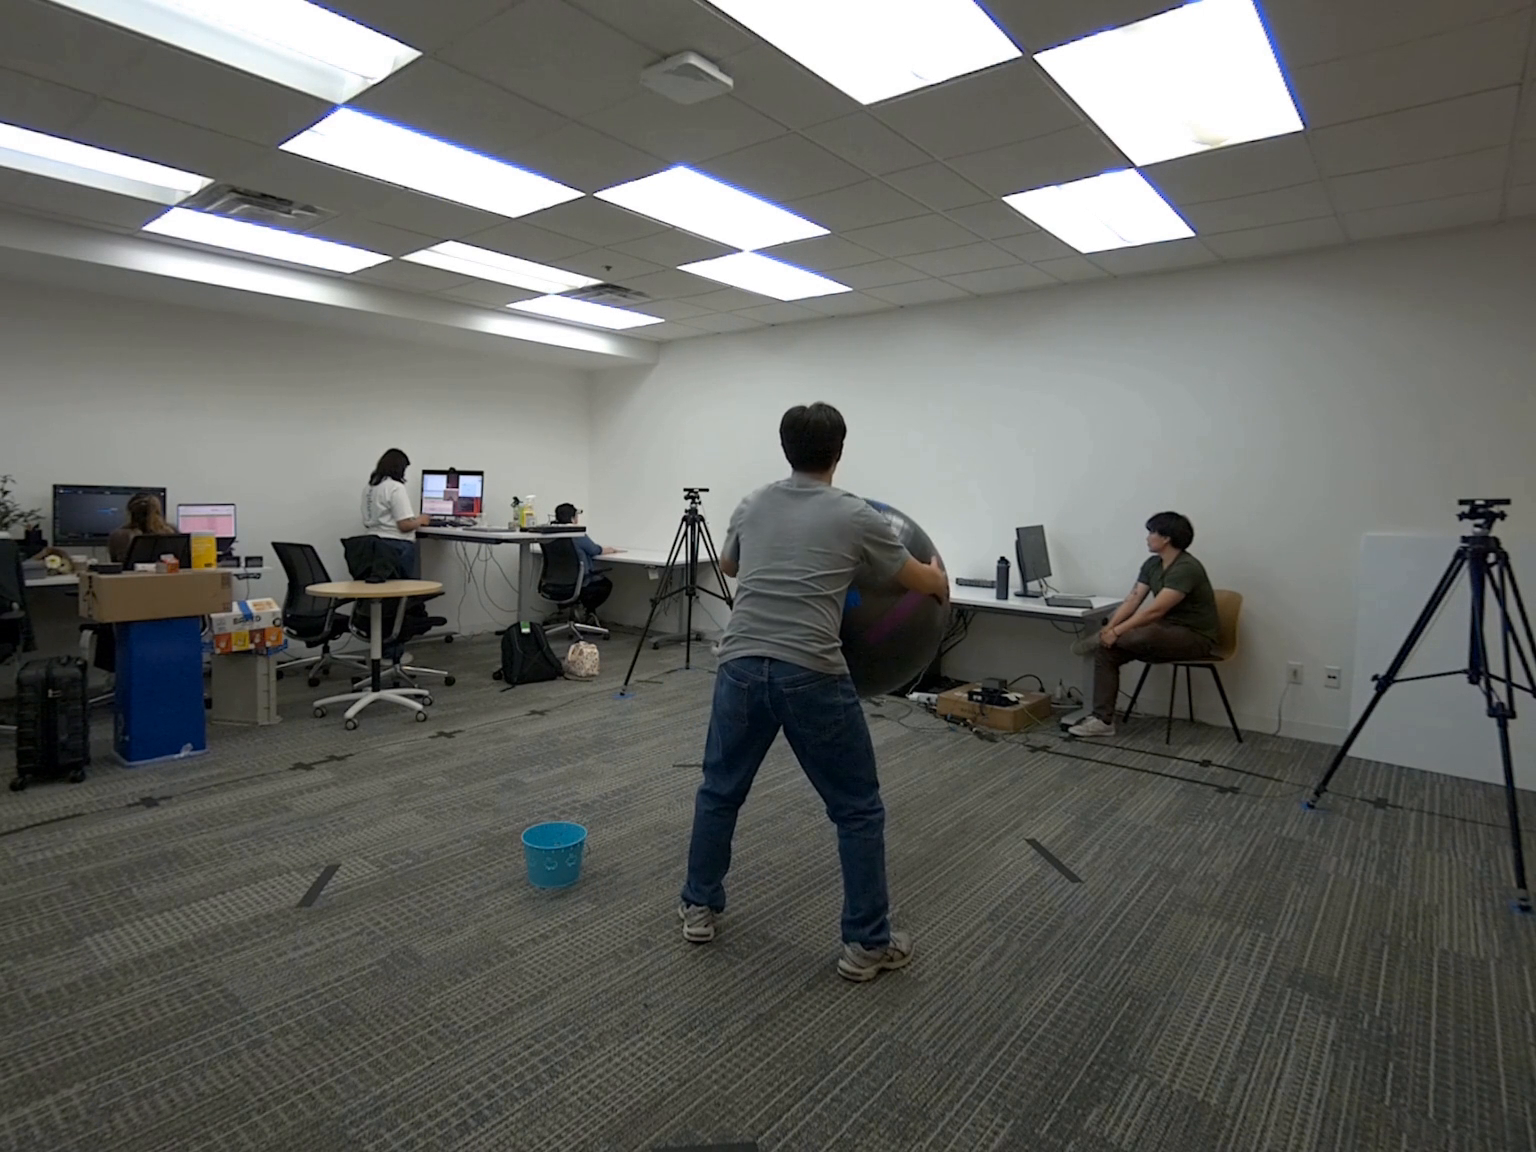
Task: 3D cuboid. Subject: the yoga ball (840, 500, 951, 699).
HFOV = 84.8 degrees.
[{"bbox_3d":[0.290,0.083,3.186,0.757,0.755,0.762,1,4,-2],"label":"yoga ball"}]
